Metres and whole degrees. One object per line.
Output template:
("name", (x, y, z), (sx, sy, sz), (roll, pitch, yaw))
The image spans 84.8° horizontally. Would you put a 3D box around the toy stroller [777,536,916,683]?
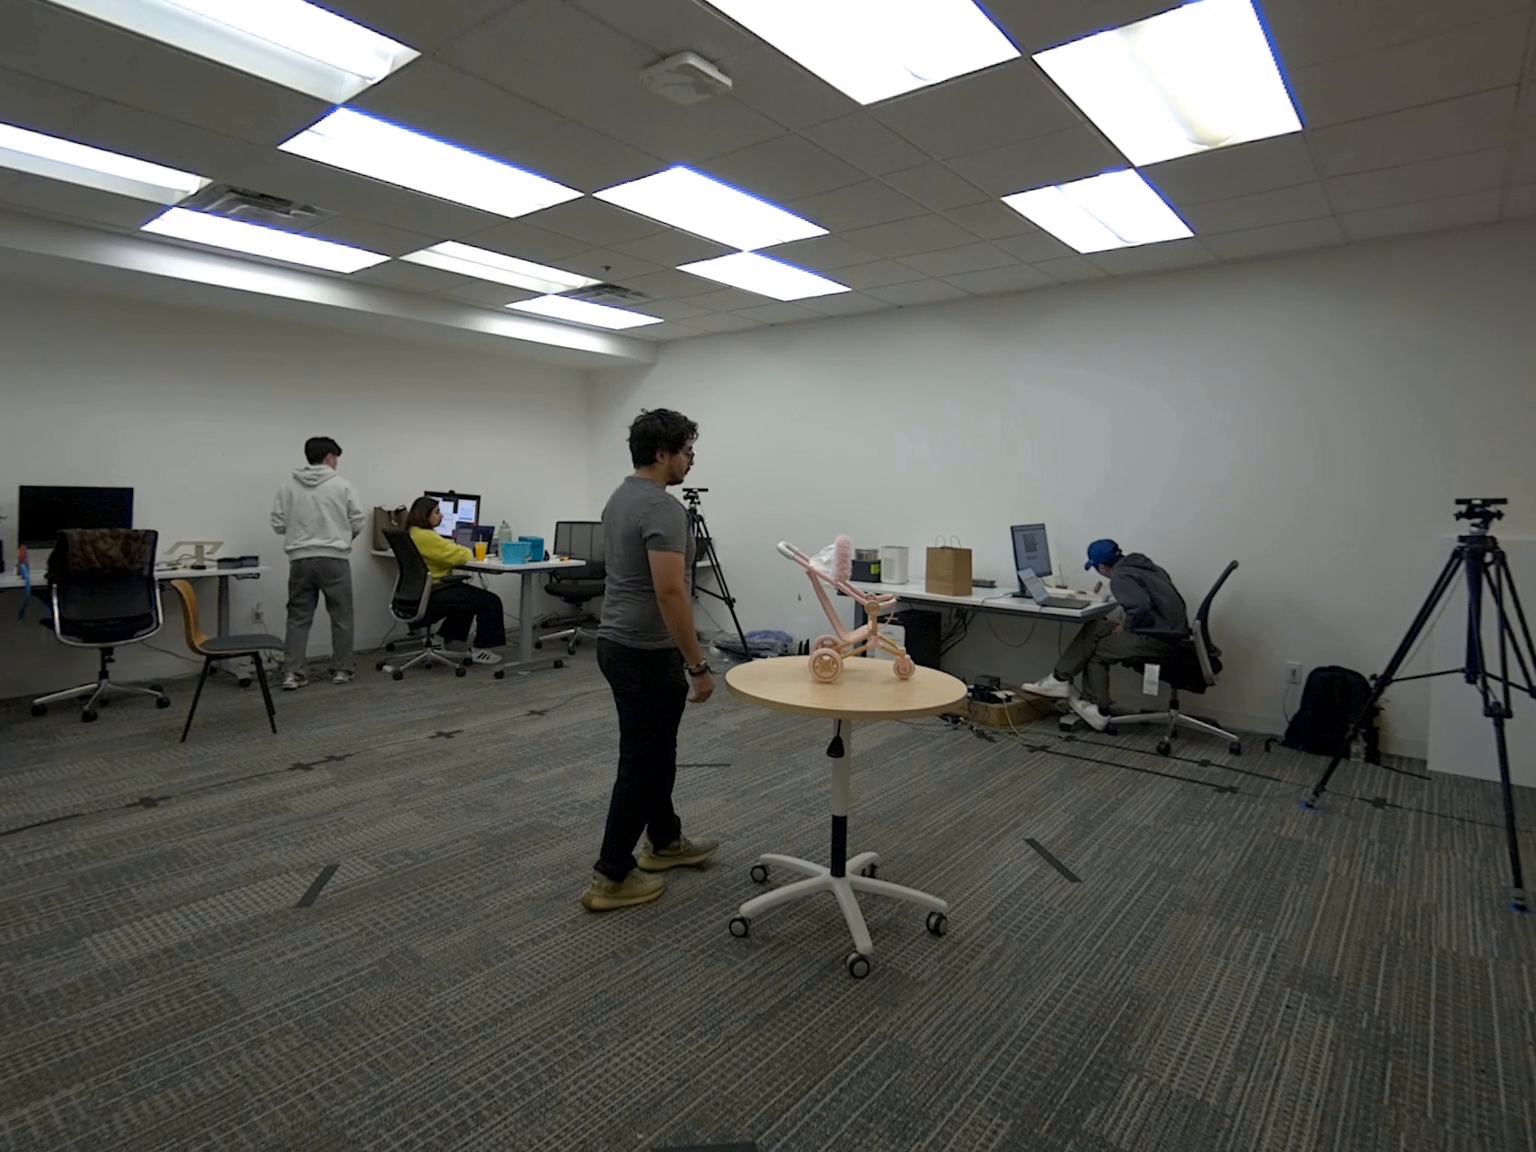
("toy stroller", (0.259, 0.108, 2.786), (0.345, 0.535, 0.279), (-14, 0, 12))
